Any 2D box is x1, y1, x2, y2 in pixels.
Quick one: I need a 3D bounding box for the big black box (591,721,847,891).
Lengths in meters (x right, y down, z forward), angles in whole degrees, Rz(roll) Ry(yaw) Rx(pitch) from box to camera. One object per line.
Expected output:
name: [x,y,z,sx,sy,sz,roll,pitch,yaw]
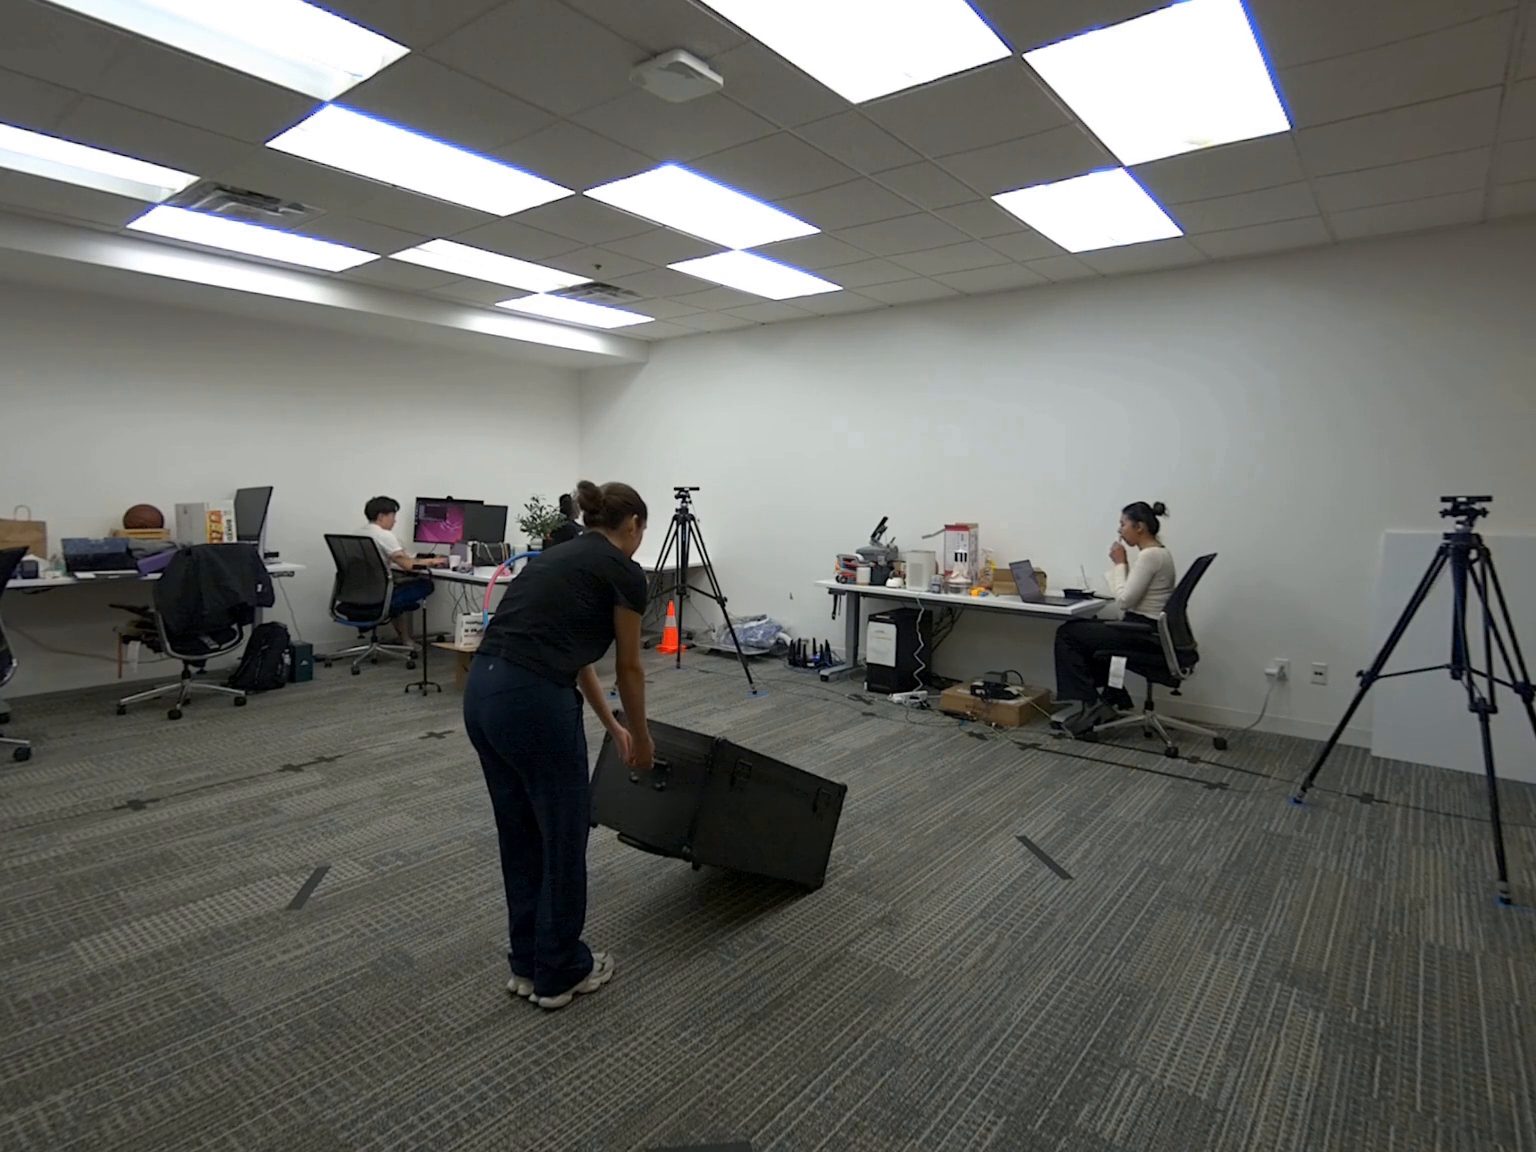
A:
big black box: [-0.132,0.786,2.931,0.539,0.400,0.825,5,-18,40]
